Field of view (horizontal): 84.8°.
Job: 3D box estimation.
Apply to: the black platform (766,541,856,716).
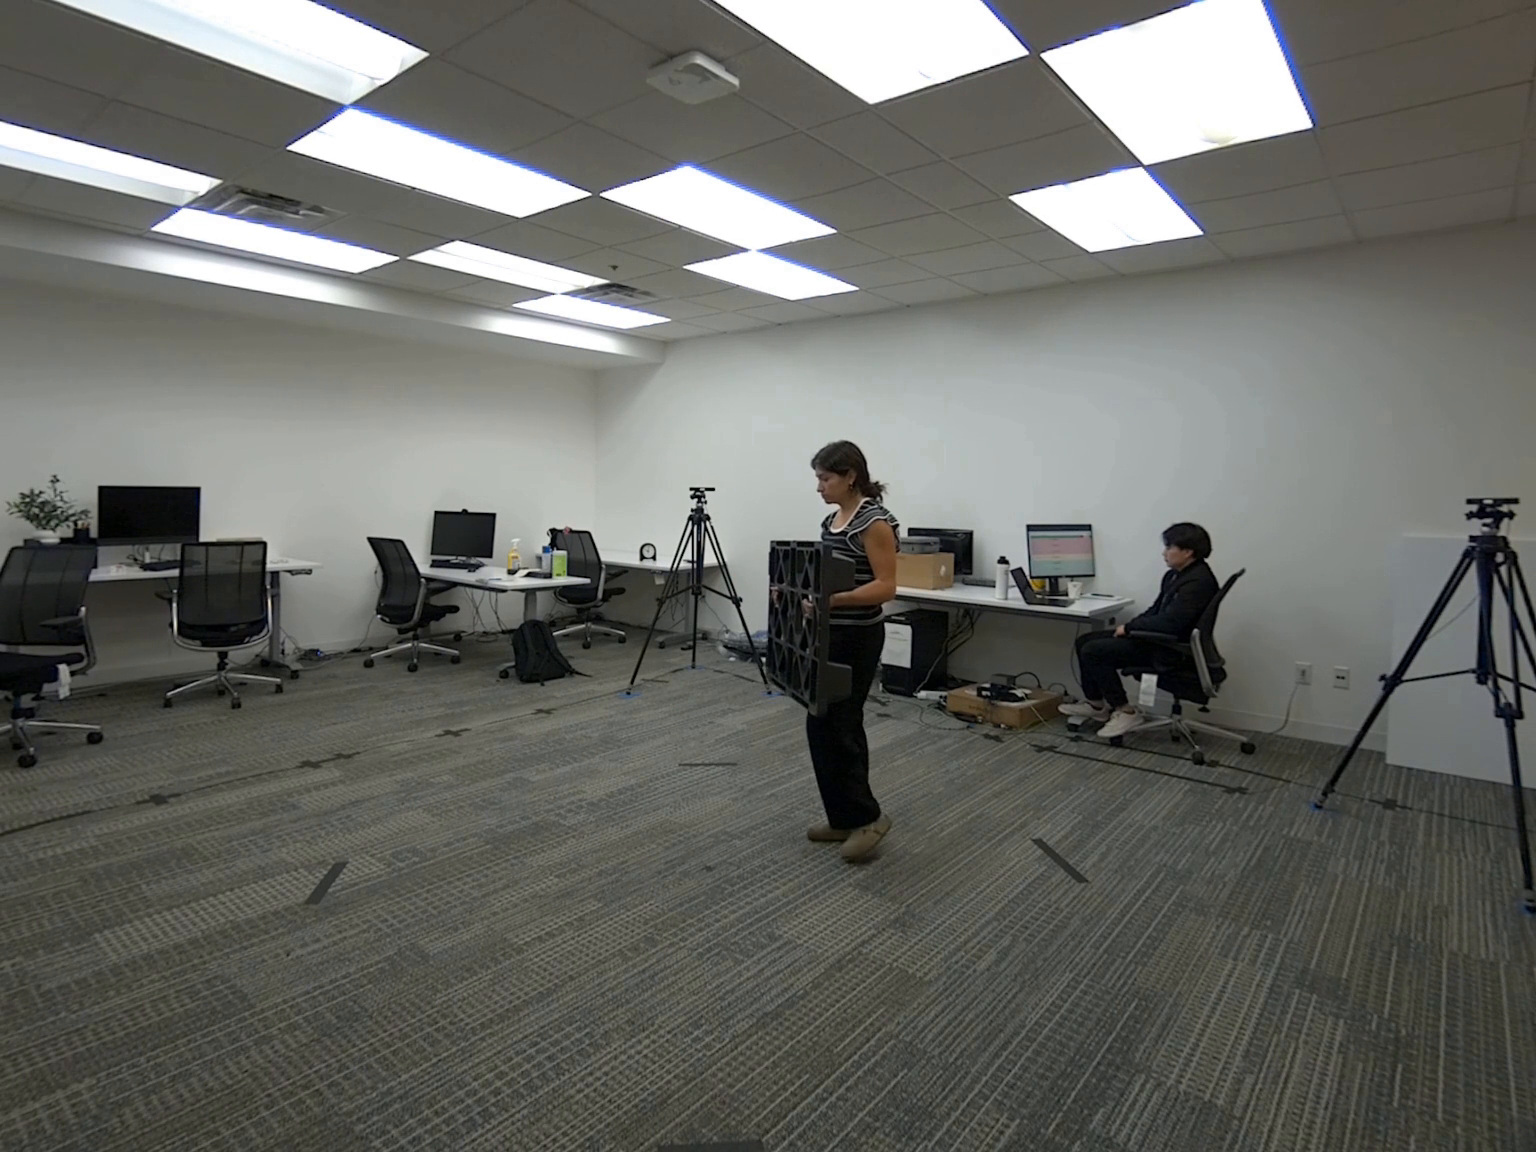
[{"bbox_3d":[0.132,0.163,3.285,0.141,0.605,0.816,3,1,-12],"label":"black platform"}]
